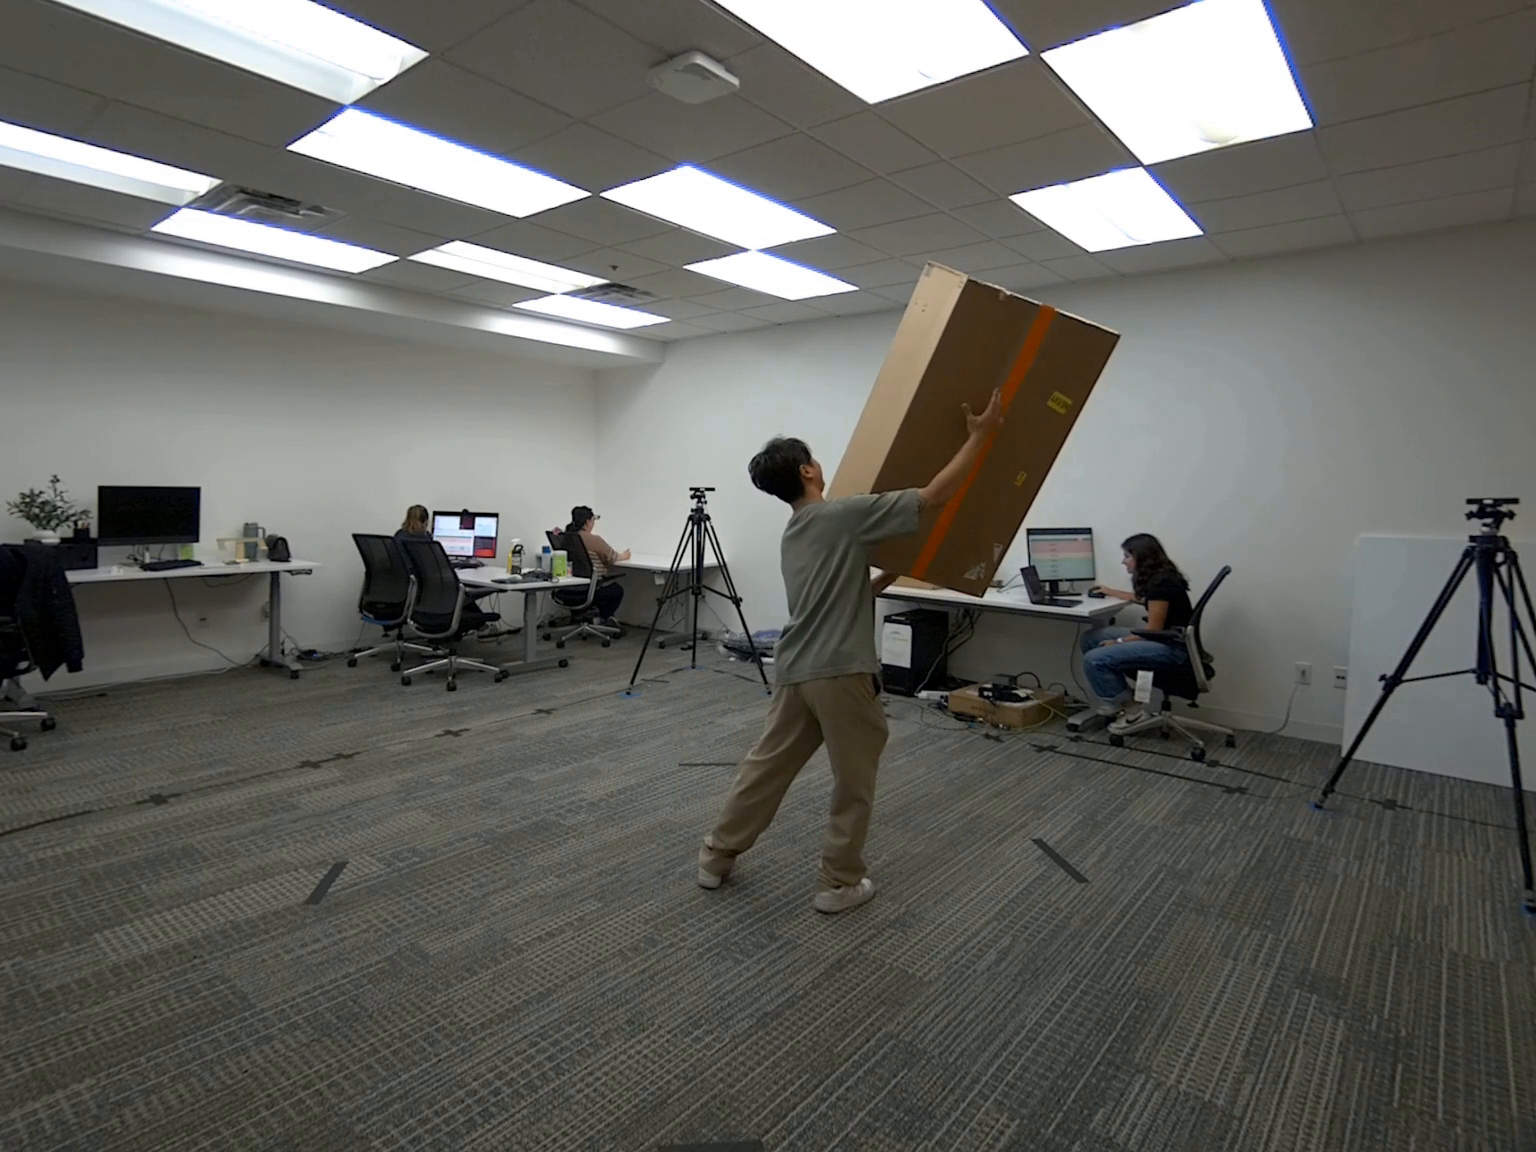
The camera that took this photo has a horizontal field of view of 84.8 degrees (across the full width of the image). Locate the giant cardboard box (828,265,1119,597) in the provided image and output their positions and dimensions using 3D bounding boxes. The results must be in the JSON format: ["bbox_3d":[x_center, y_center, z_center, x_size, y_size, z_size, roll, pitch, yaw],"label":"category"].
[{"bbox_3d":[0.672,-0.501,3.078,0.568,1.015,0.438,17,23,-14],"label":"giant cardboard box"}]
